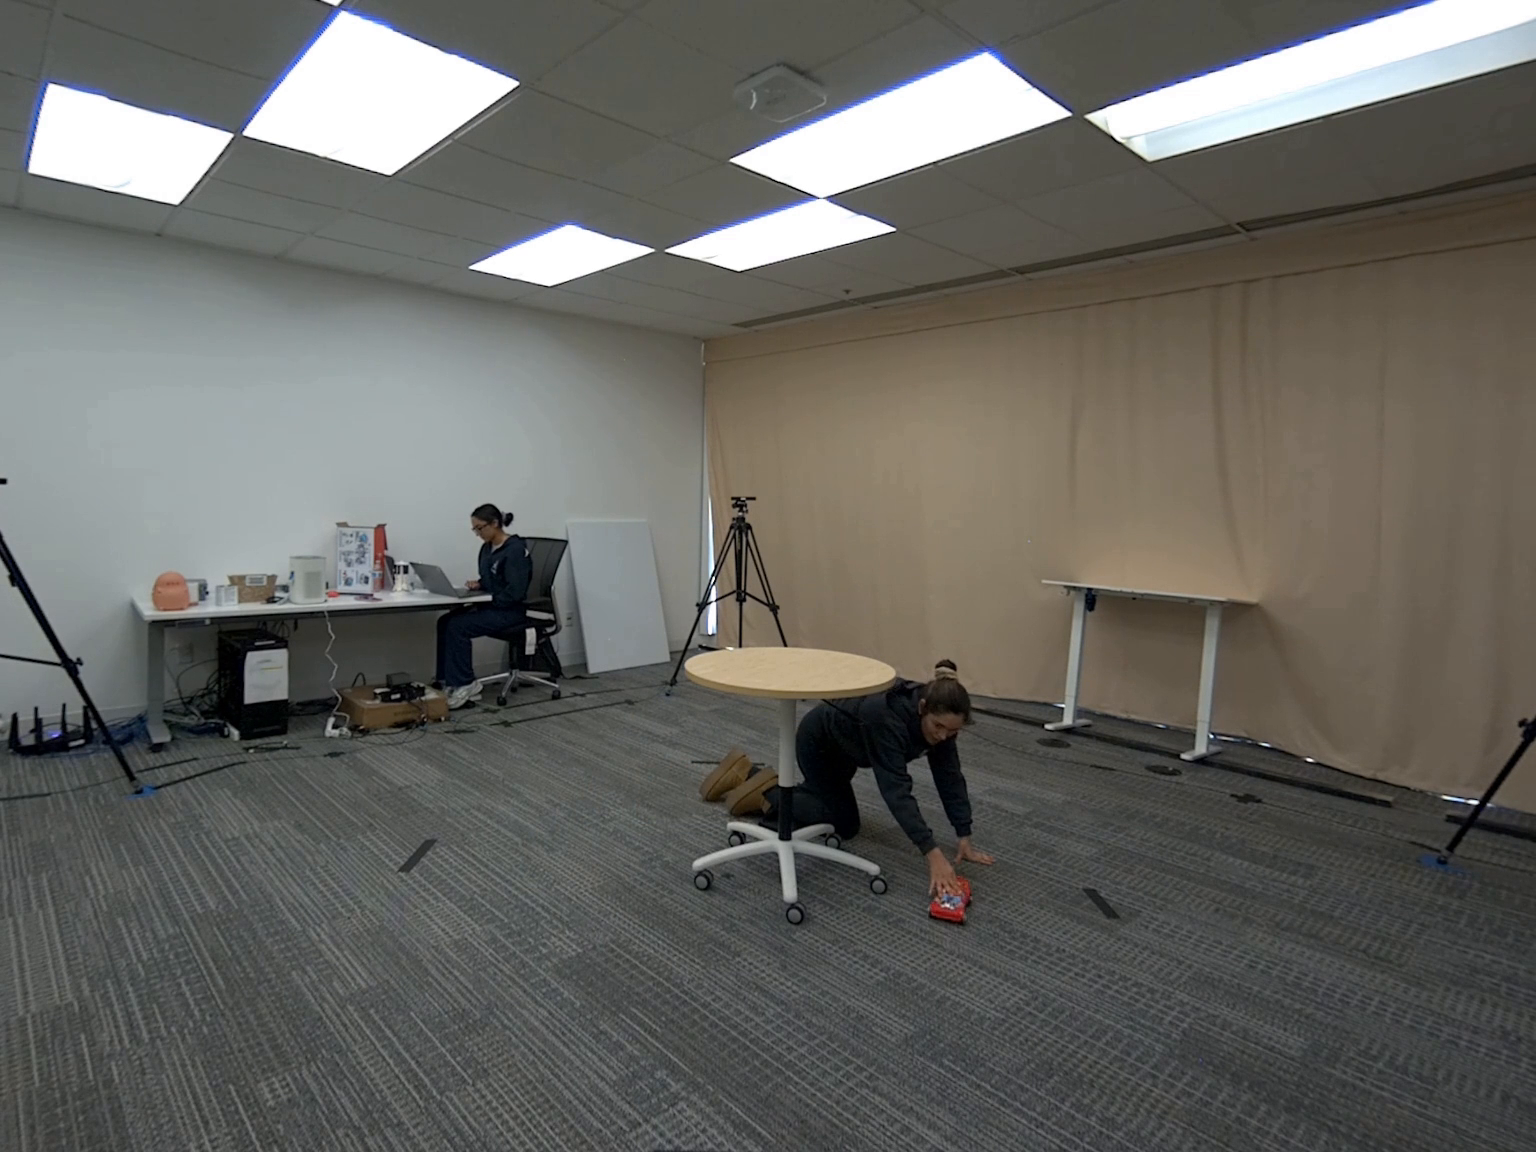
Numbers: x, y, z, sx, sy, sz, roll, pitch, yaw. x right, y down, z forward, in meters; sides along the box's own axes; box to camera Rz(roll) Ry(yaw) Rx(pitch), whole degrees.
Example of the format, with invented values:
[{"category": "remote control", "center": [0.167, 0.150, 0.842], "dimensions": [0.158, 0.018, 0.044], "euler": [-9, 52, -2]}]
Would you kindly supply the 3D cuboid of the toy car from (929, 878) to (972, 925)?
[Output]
[{"category": "toy car", "center": [0.625, 1.110, 2.916], "dimensions": [0.132, 0.082, 0.254], "euler": [1, 18, 19]}]
